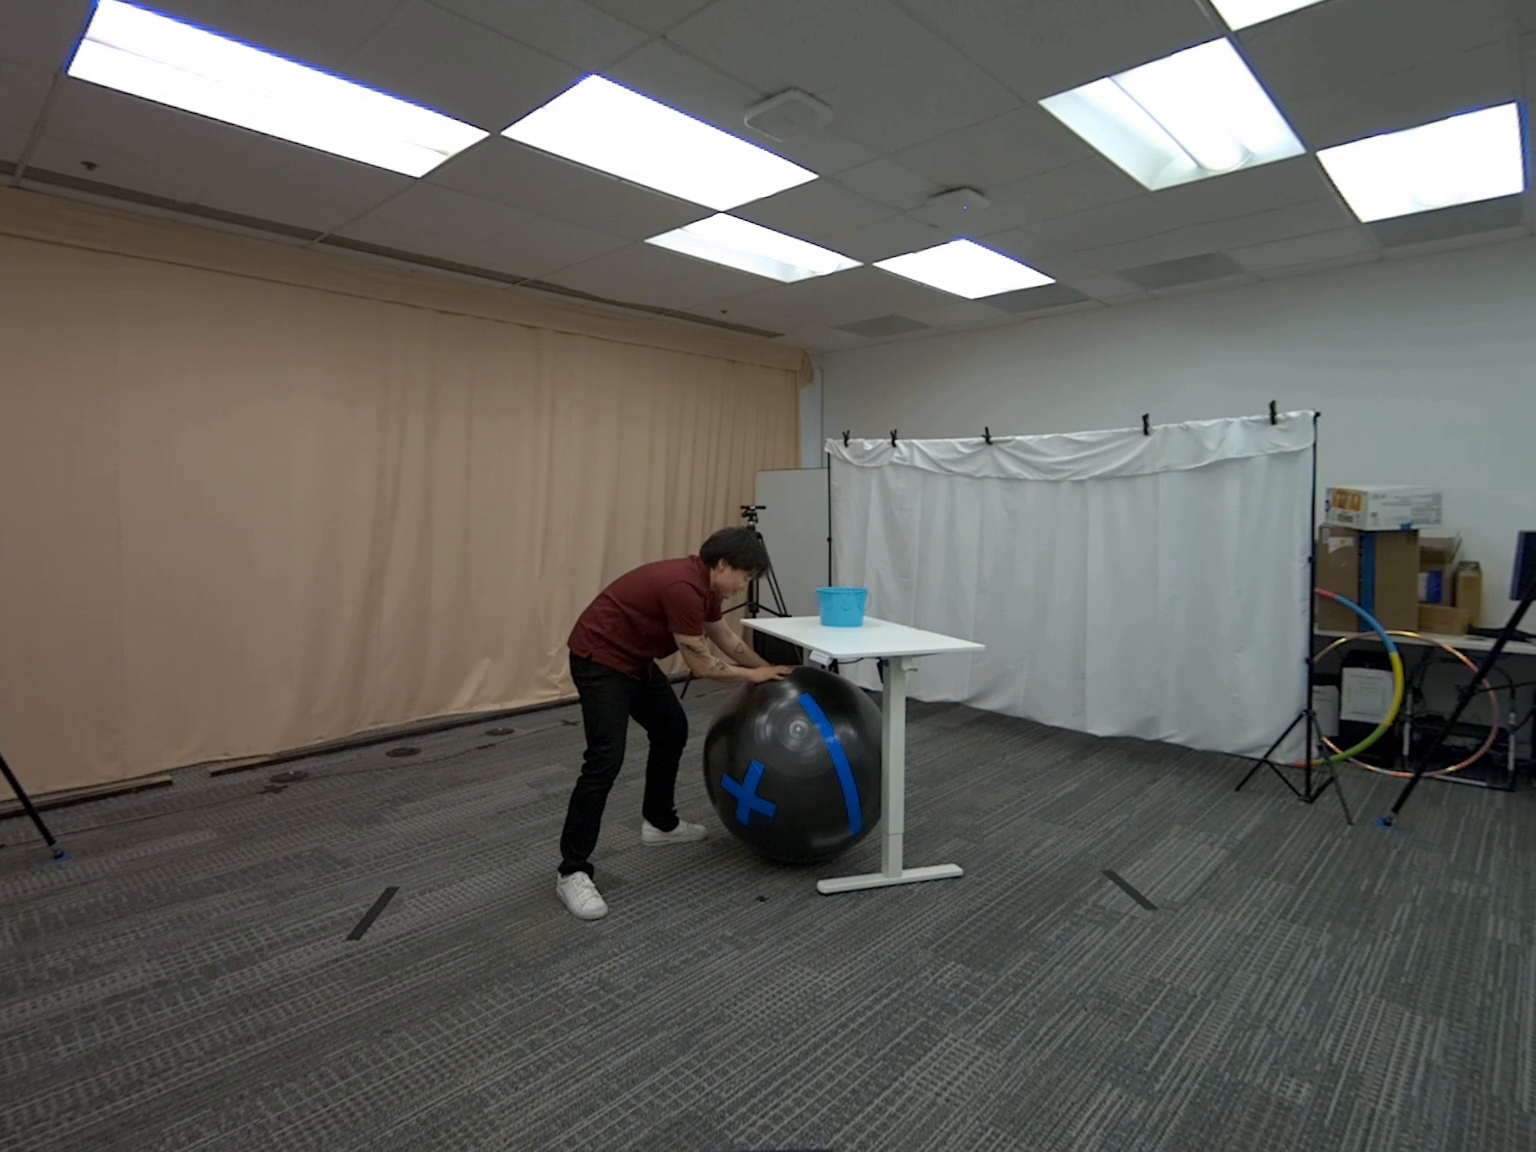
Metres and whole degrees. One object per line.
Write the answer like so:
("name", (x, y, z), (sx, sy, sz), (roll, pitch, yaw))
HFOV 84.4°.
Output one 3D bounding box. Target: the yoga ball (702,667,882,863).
("yoga ball", (0.127, 0.748, 3.350), (0.757, 0.756, 0.760), (0, 4, -2))
